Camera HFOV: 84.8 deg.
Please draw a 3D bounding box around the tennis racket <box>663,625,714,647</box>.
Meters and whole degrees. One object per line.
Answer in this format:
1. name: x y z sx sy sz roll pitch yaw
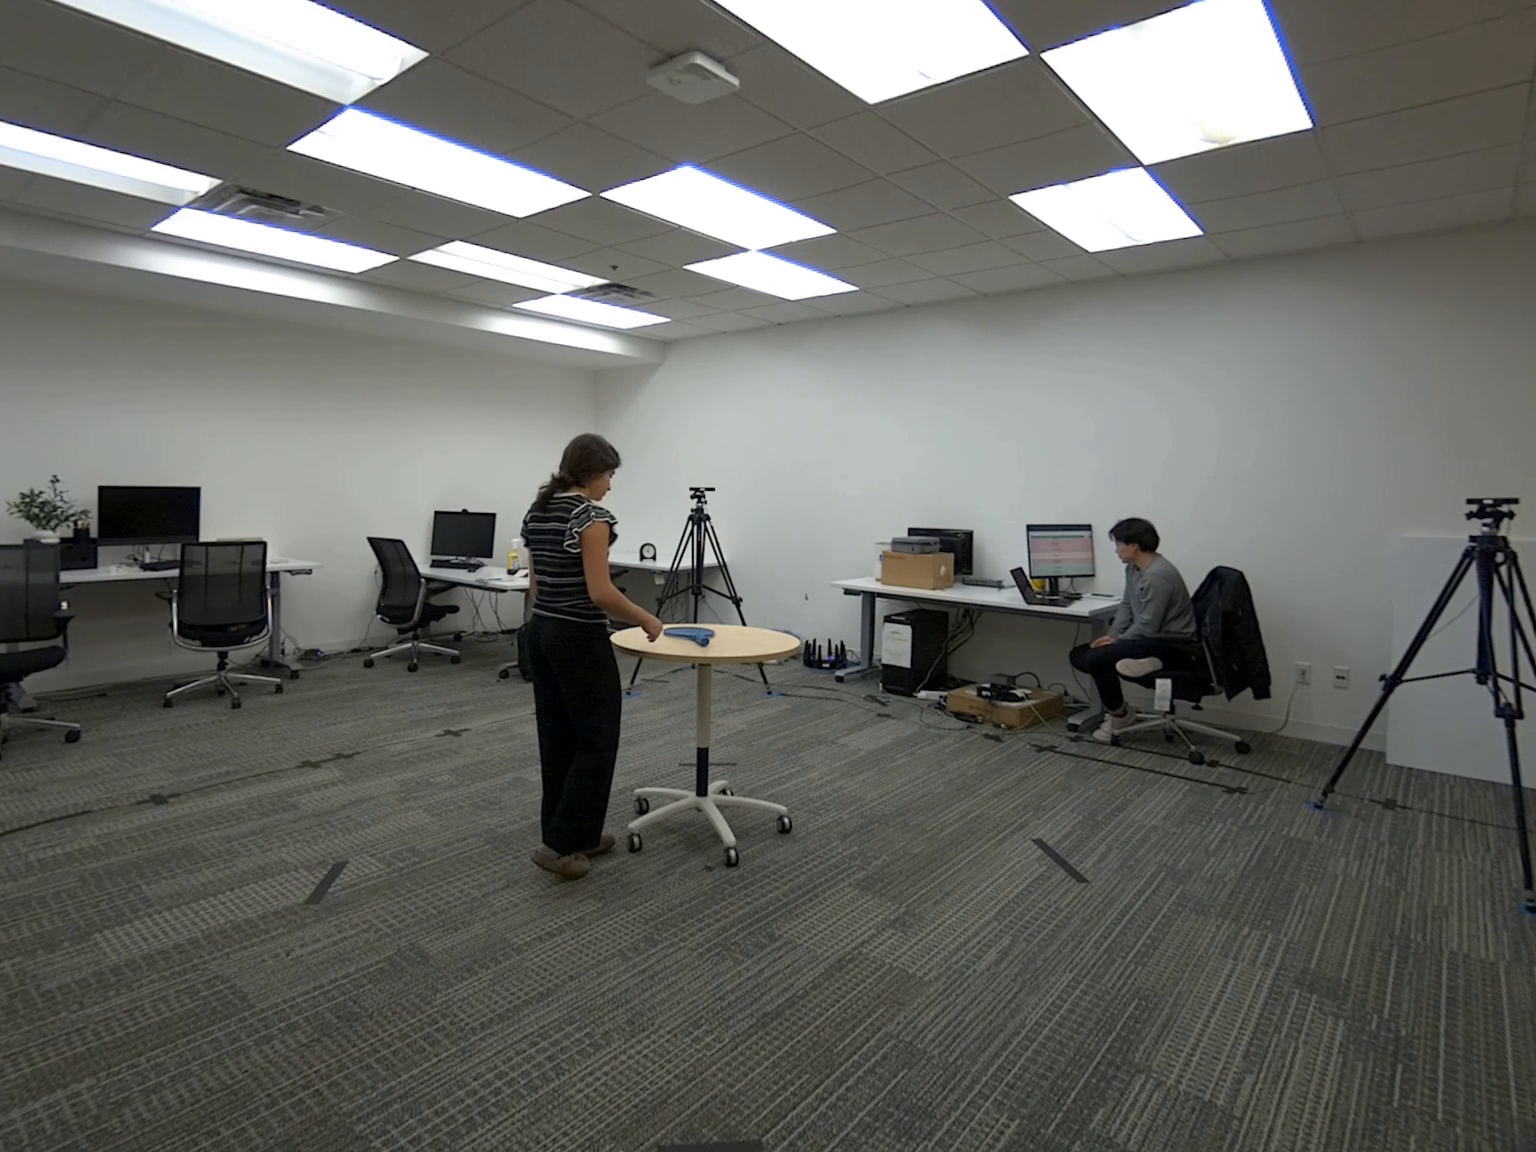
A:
1. tennis racket: -0.314 0.239 3.464 0.210 0.032 0.442 0 4 -19
